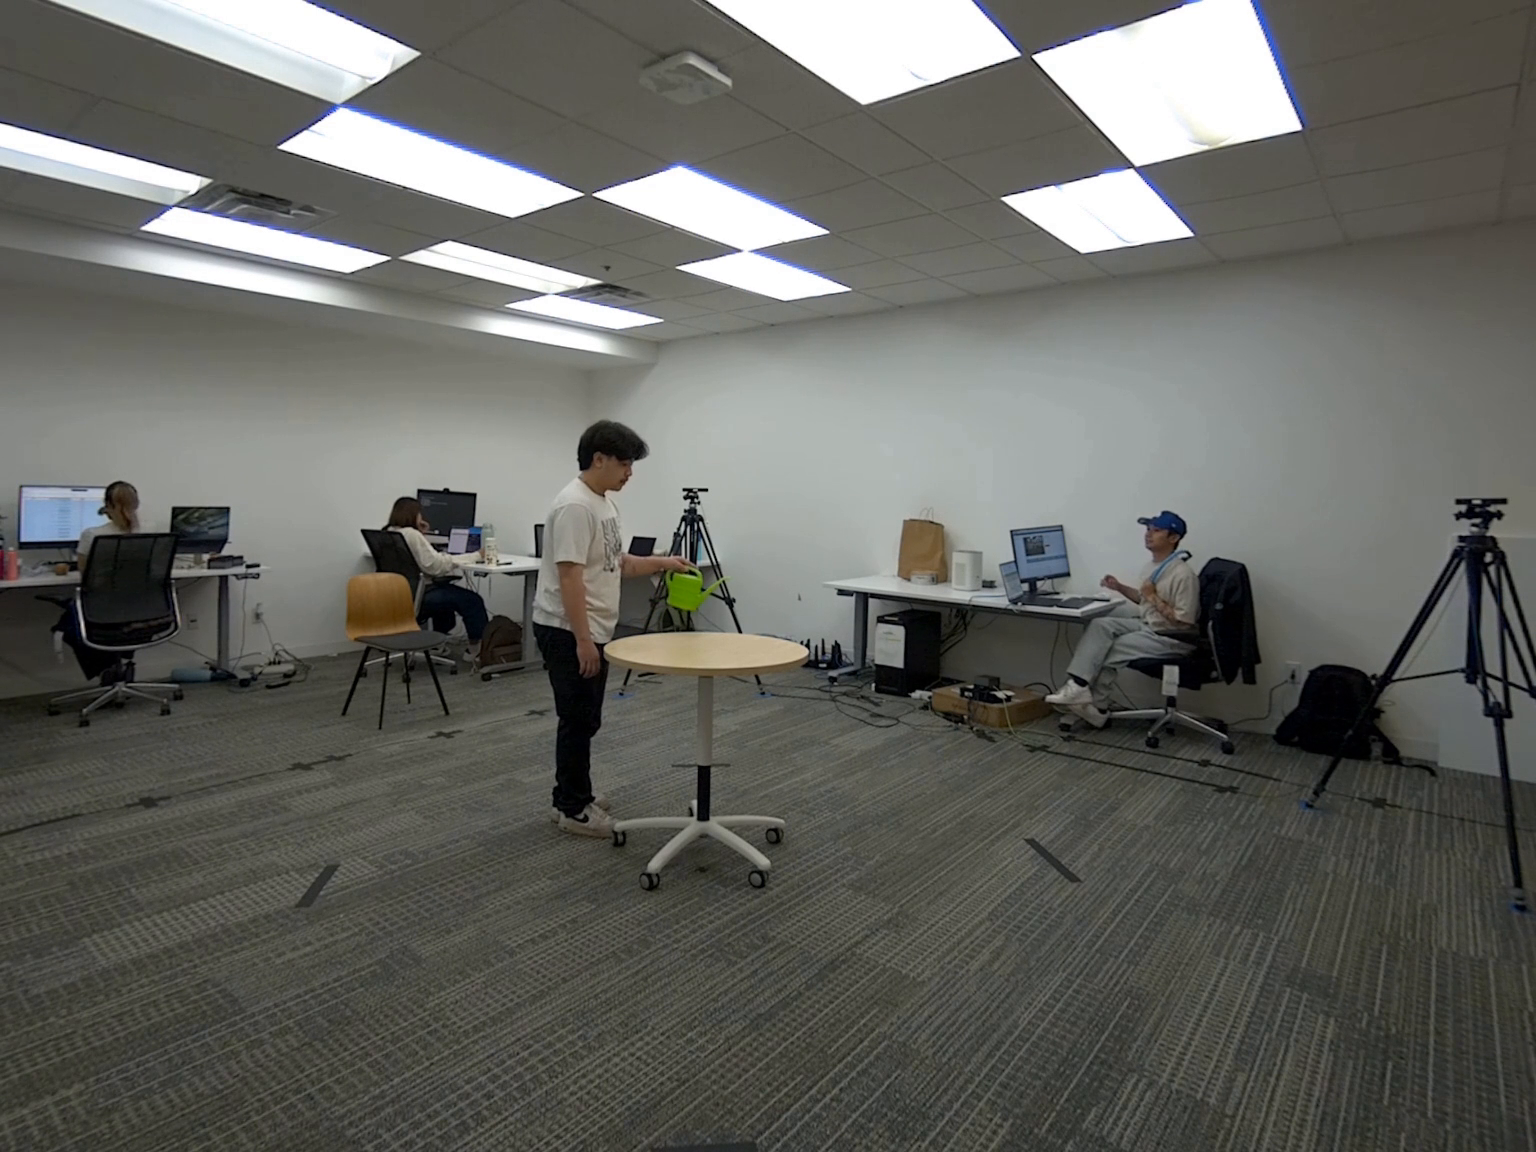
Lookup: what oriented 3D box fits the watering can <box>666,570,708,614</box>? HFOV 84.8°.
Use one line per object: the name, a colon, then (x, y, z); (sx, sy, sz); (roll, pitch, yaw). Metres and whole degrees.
watering can: (-0.324, 0.055, 3.556); (0.286, 0.176, 0.095); (14, 4, 24)
